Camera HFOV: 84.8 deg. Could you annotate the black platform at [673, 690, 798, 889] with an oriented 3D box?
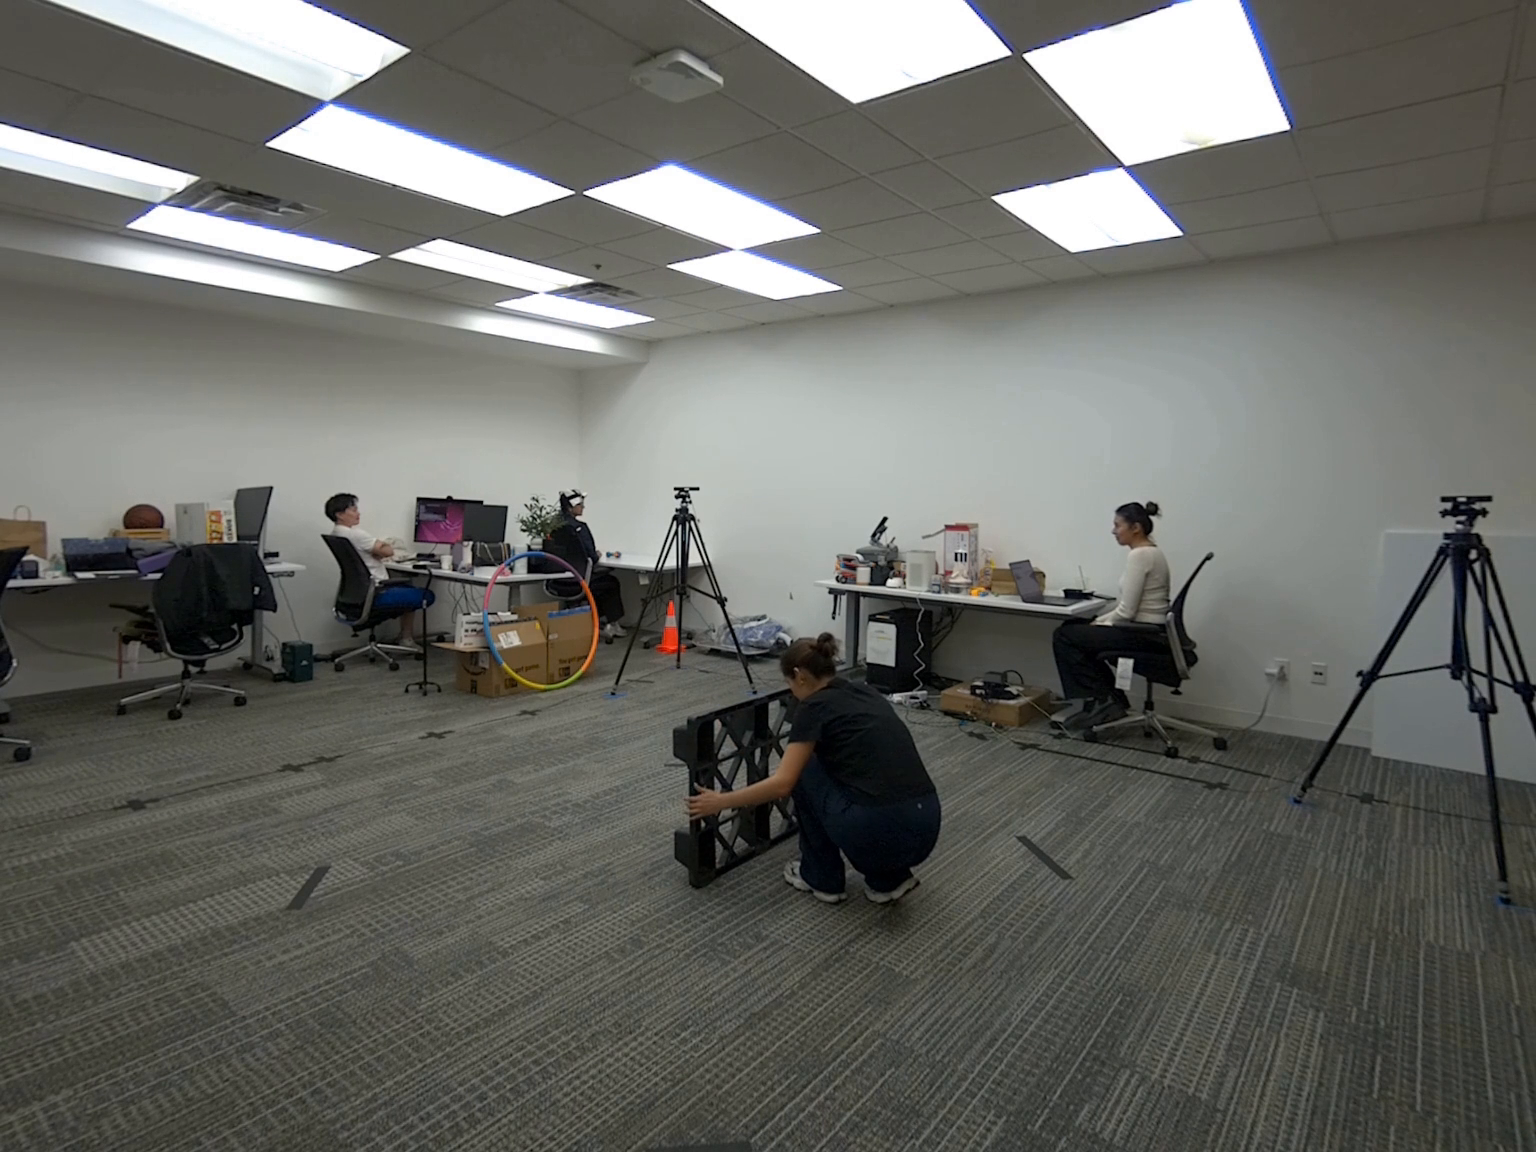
[{"bbox_3d":[-0.059,0.754,3.293,0.148,0.604,0.782,0,3,37],"label":"black platform"}]
